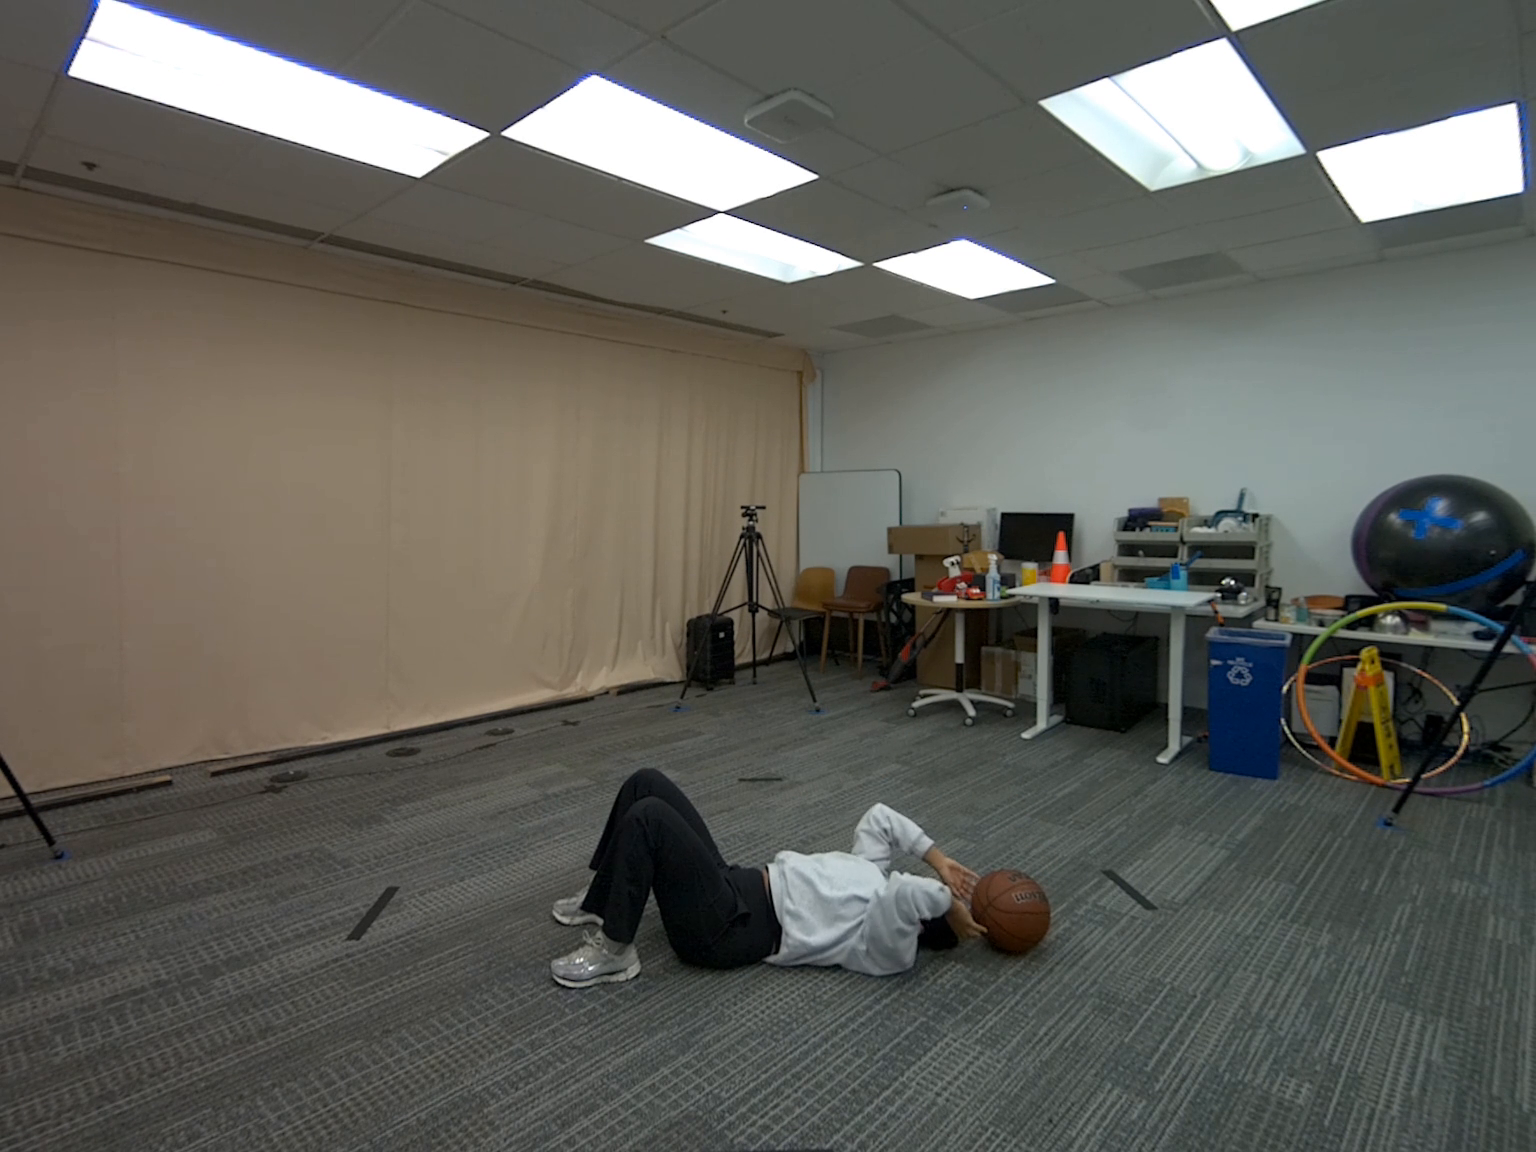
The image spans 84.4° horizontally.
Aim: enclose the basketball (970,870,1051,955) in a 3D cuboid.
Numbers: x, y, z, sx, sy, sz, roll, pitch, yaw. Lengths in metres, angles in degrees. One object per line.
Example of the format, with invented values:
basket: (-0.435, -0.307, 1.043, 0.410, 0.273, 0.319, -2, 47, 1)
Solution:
basketball: (0.765, 1.051, 2.652, 0.236, 0.235, 0.237, 0, 4, -2)
